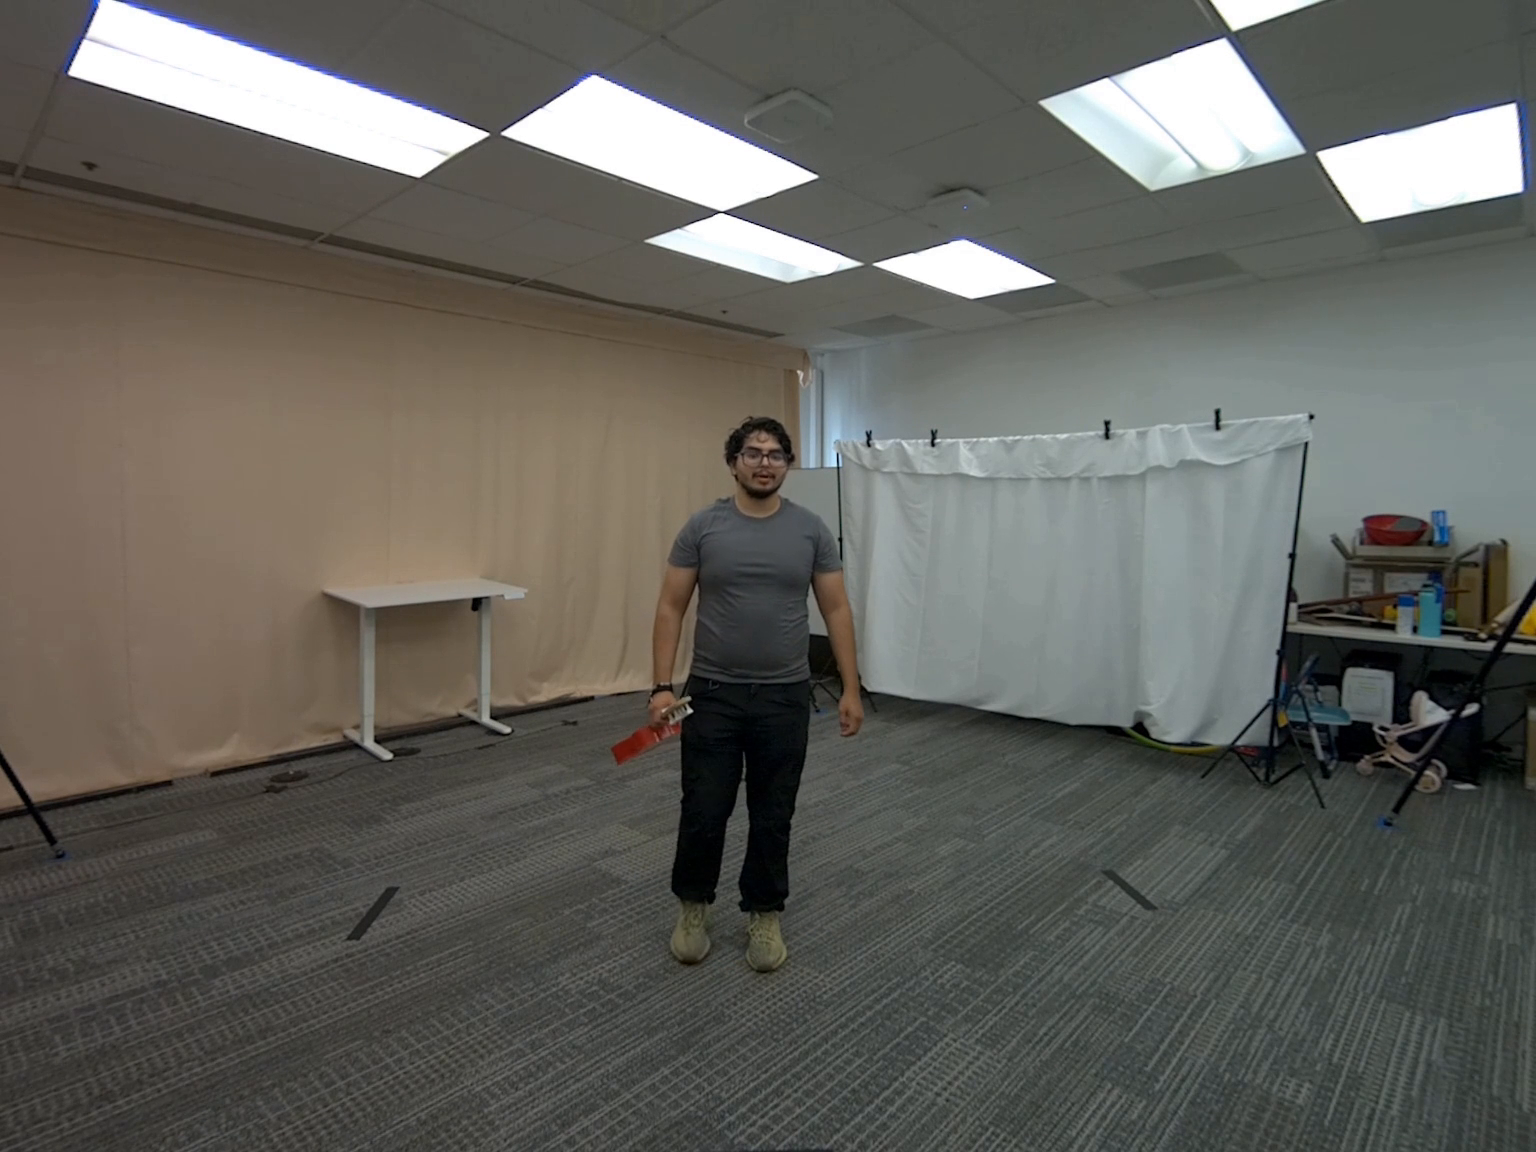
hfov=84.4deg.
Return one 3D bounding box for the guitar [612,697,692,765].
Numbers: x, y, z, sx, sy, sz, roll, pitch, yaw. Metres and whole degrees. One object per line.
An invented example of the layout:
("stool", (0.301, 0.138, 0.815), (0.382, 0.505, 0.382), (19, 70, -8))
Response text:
("guitar", (-0.342, 0.468, 2.485), (0.190, 0.071, 0.500), (-24, -9, -24))
